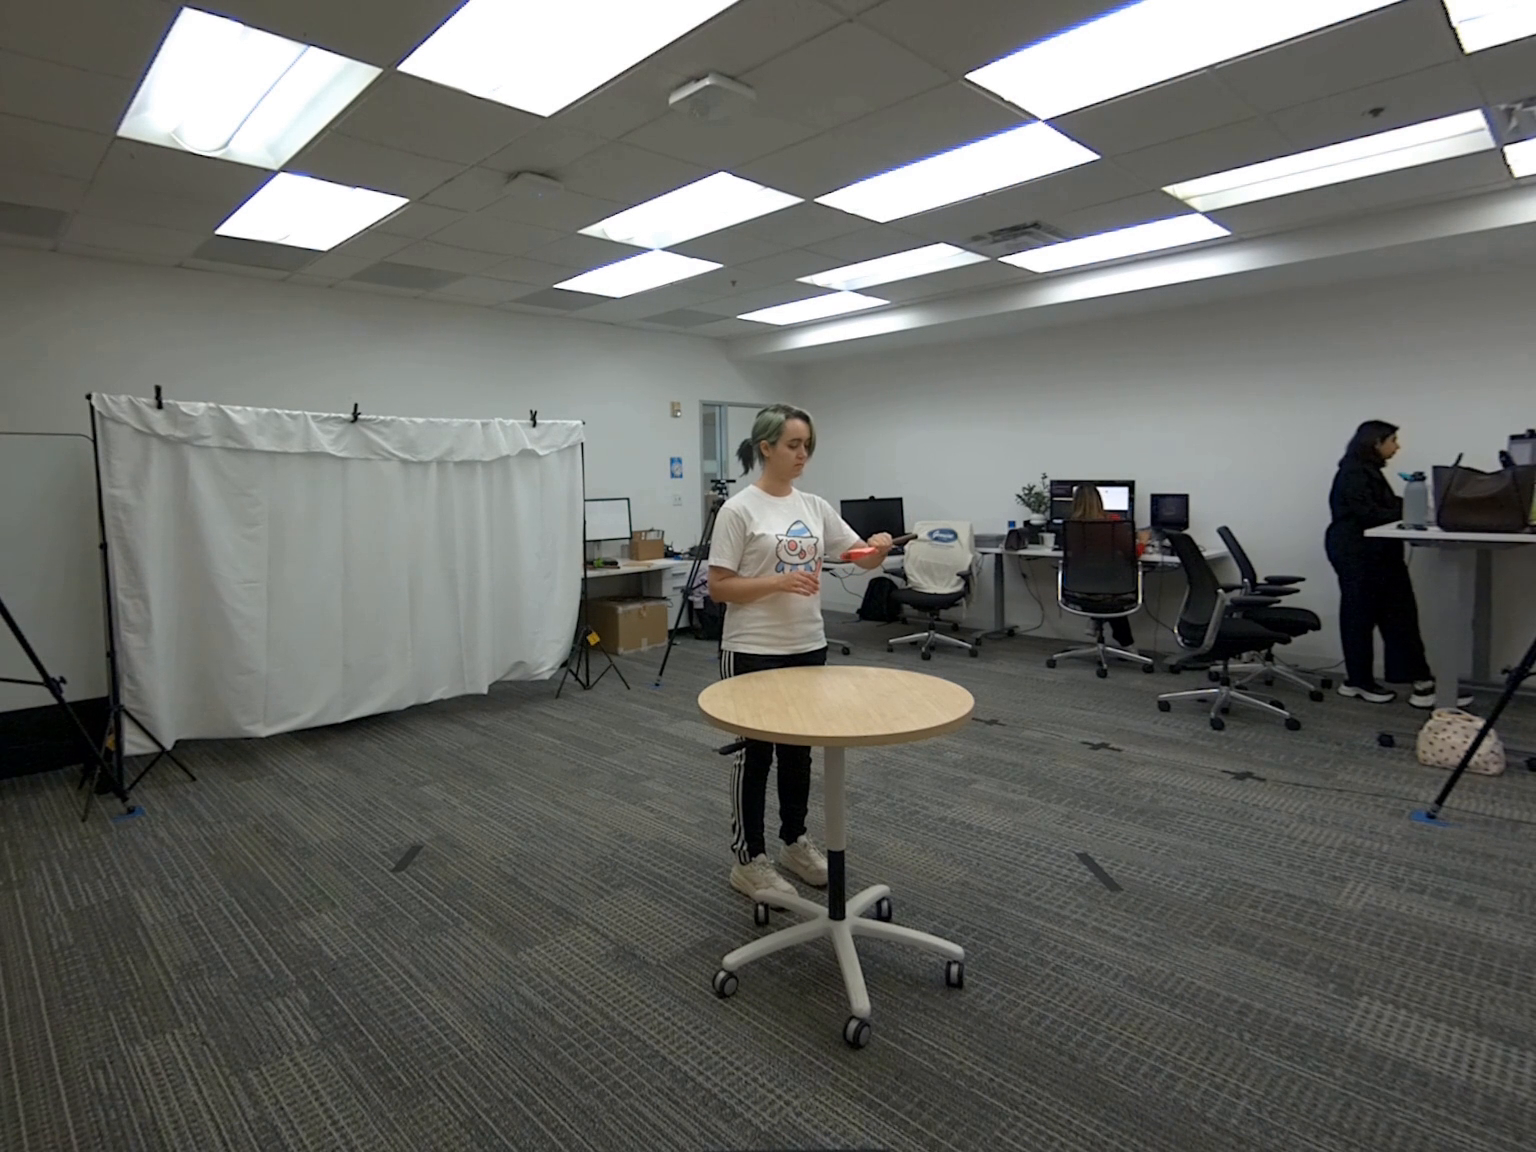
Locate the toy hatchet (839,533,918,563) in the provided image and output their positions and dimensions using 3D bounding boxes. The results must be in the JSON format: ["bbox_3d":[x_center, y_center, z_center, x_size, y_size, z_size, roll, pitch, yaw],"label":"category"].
[{"bbox_3d":[0.371,-0.092,2.675,0.269,0.029,0.131,-15,1,-6],"label":"toy hatchet"}]
